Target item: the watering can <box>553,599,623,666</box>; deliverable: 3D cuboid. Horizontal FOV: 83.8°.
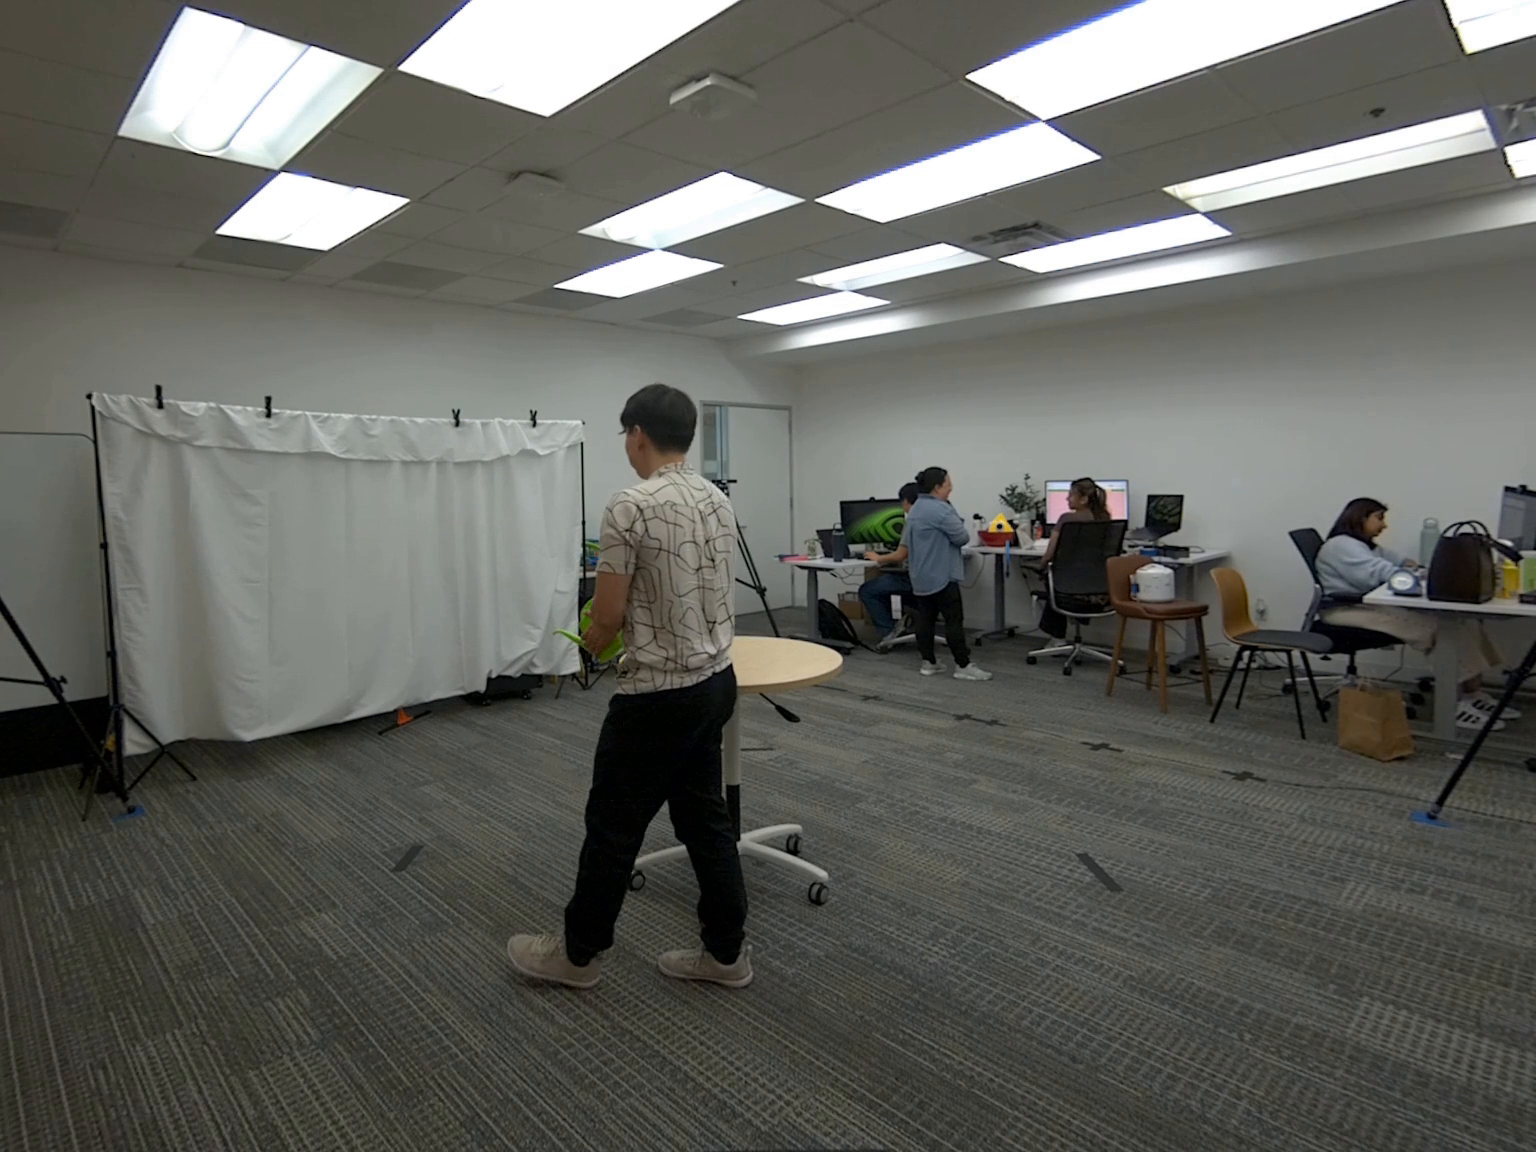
[{"bbox_3d":[-0.514,0.167,2.556,0.096,0.179,0.279,-23,-13,-47],"label":"watering can"}]
